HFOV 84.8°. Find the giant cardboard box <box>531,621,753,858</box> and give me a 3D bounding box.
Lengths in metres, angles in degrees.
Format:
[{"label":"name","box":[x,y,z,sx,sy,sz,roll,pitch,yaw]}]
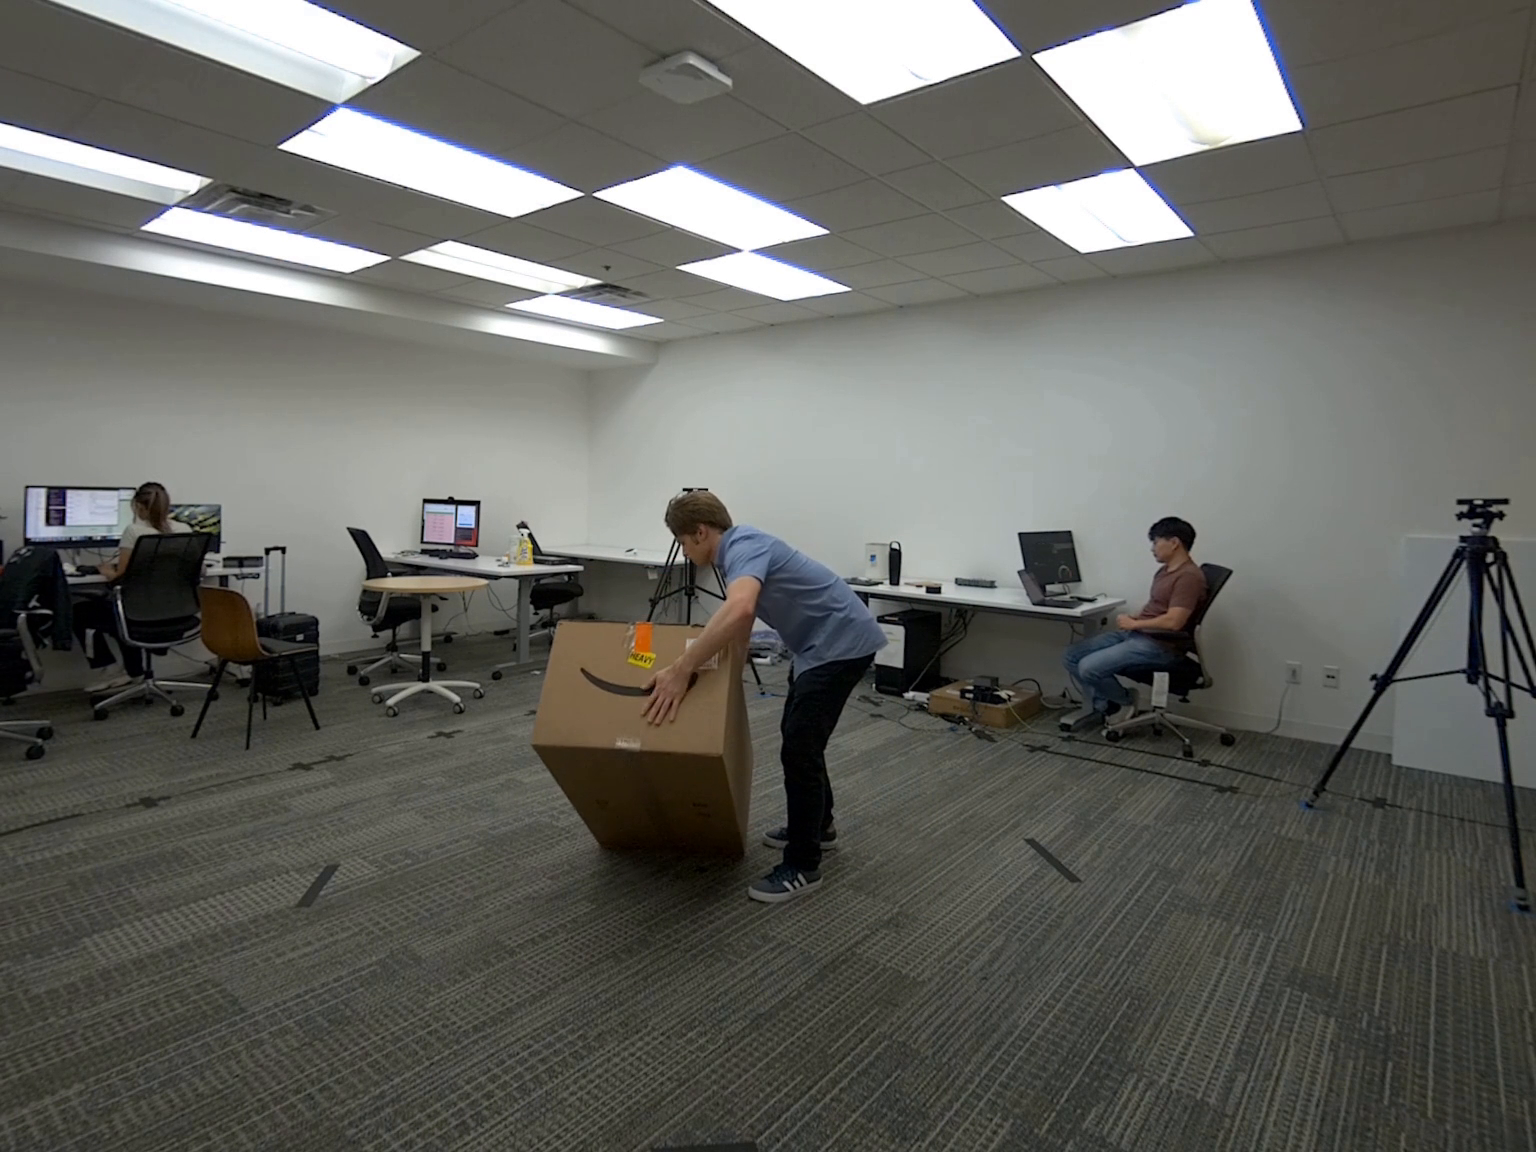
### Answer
[{"label":"giant cardboard box","box":[-0.395,0.596,2.980,0.589,0.457,0.996,4,-35,6]}]
